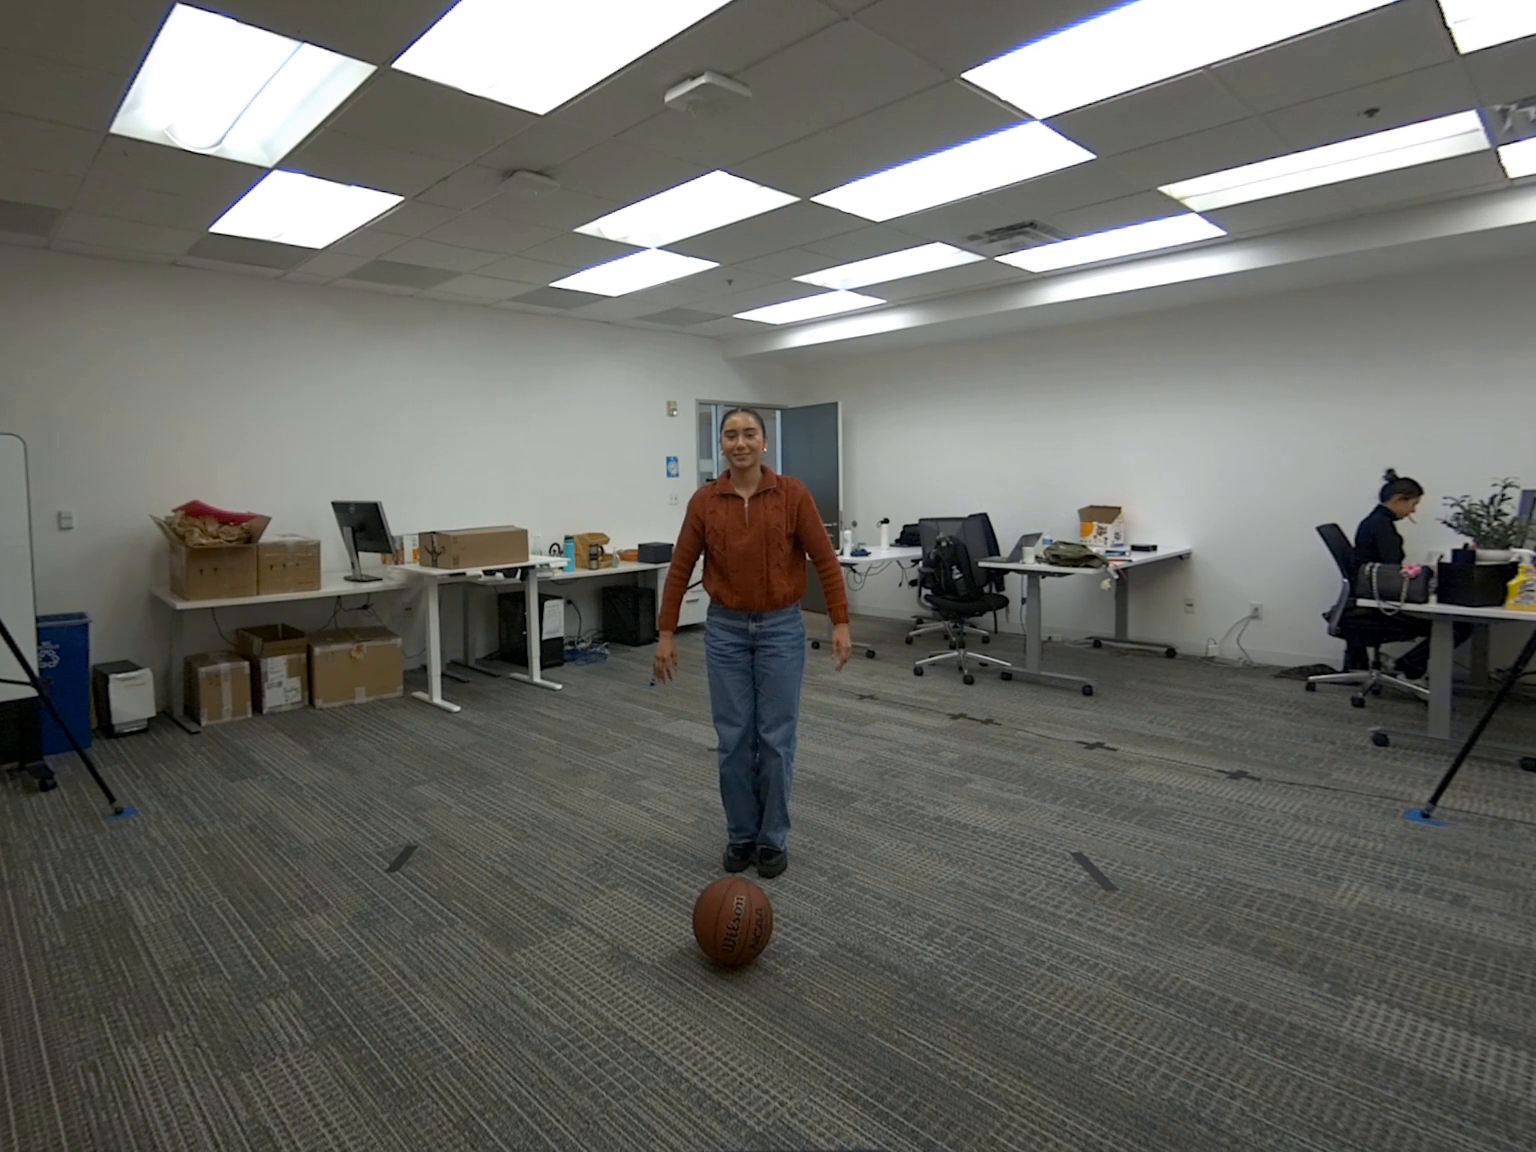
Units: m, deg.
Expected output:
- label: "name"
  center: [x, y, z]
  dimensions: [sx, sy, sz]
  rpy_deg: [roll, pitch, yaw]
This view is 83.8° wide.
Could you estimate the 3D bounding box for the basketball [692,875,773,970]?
- label: "basketball"
  center: [-0.099, 1.001, 2.484]
  dimensions: [0.236, 0.235, 0.237]
  rpy_deg: [-1, 5, -2]
